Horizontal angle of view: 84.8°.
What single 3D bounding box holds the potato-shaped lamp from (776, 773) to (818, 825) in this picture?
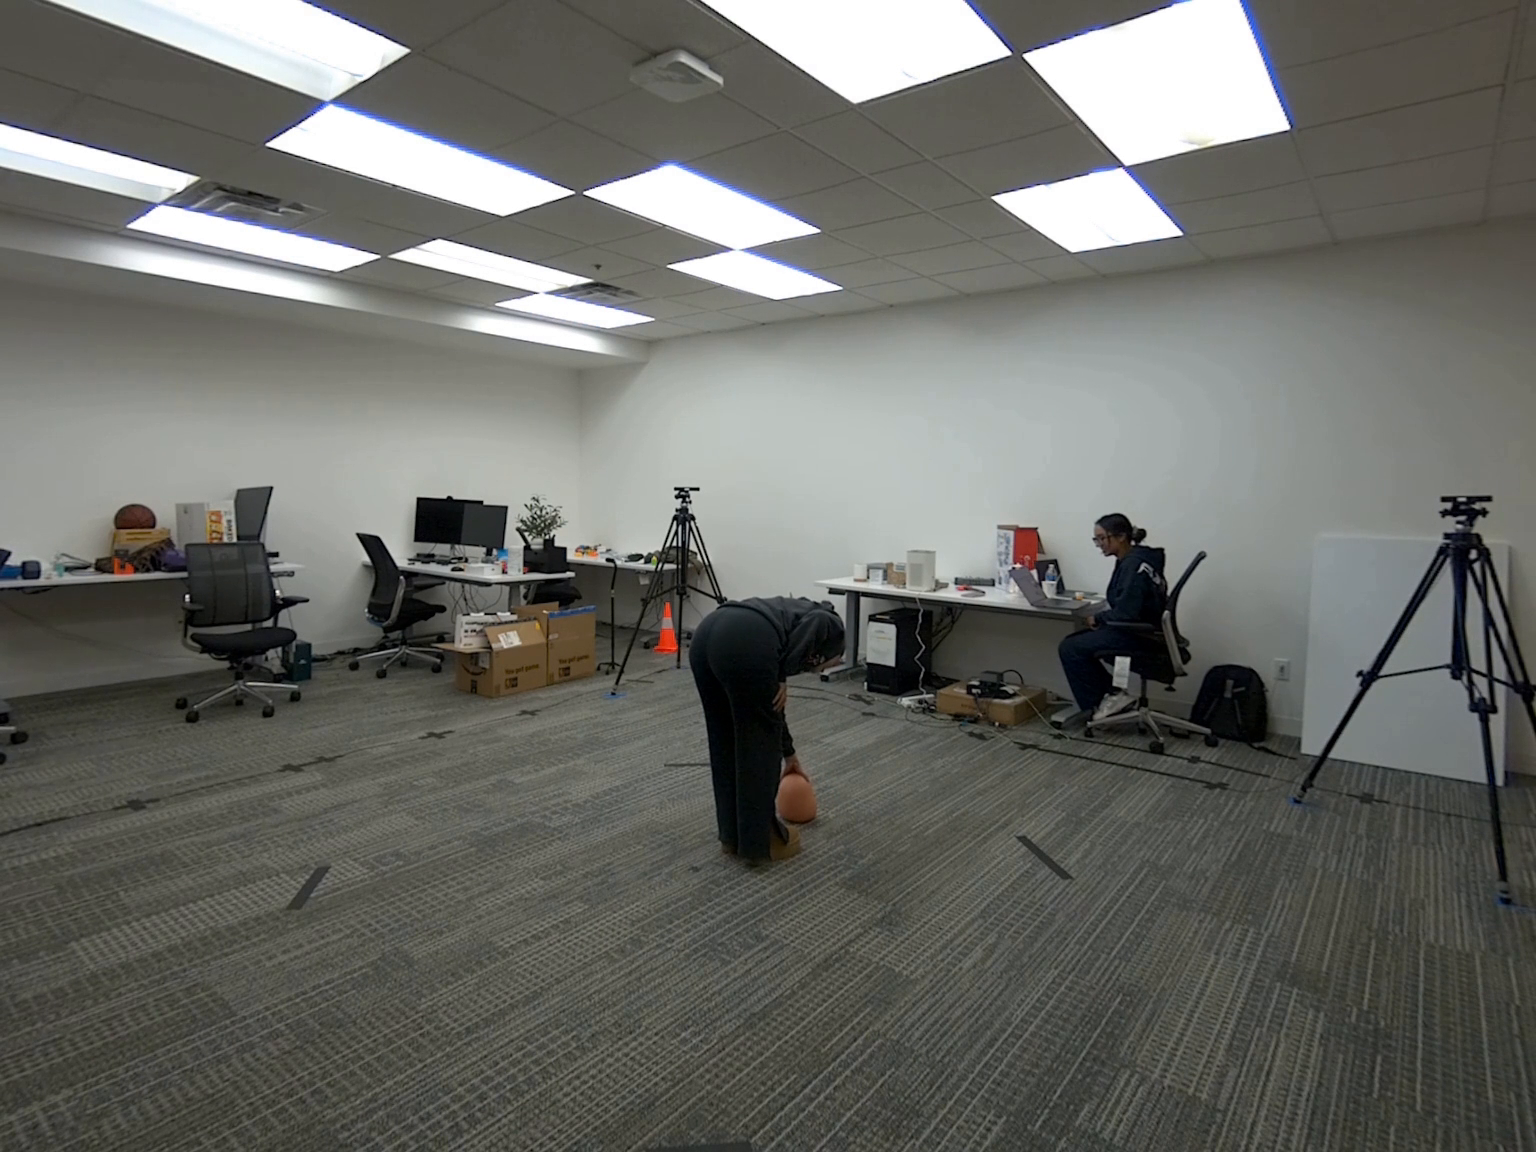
[{"bbox_3d":[0.118,0.927,3.600,0.167,0.196,0.171,-11,14,-39],"label":"potato-shaped lamp"}]
